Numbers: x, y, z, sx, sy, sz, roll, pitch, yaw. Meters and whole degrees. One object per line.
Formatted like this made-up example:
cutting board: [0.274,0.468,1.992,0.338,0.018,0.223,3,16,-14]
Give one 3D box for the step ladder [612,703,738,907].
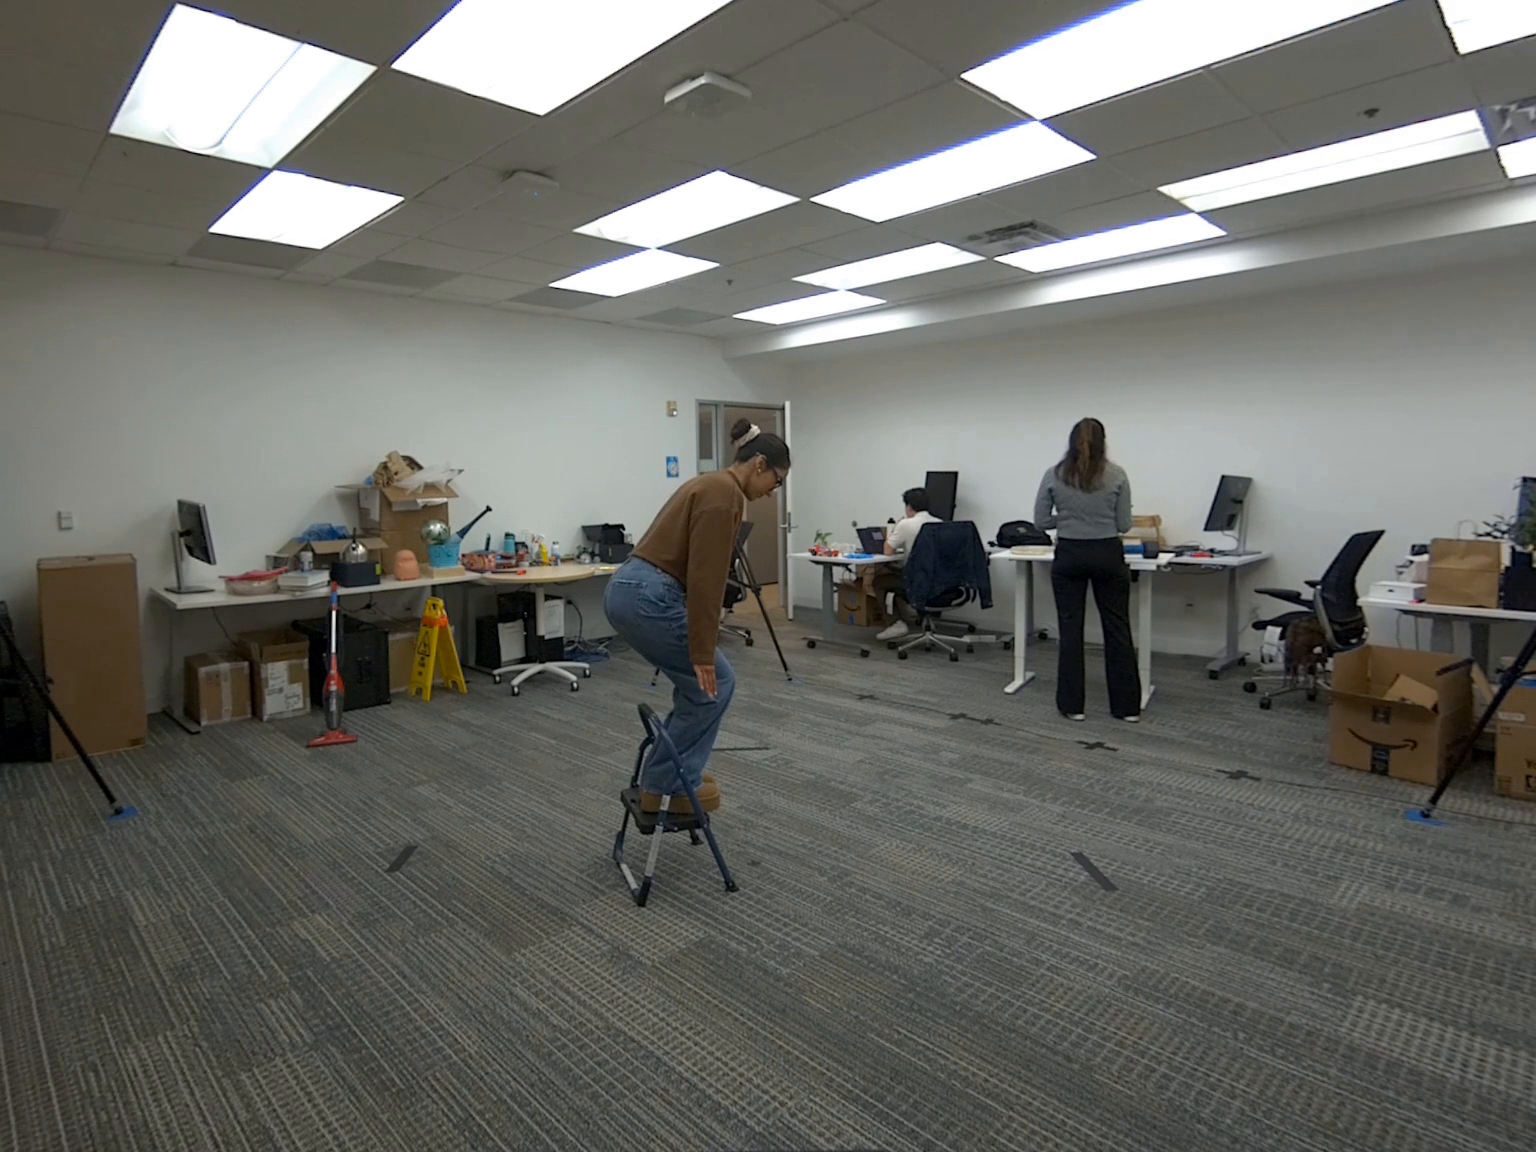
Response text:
step ladder: [-0.345,0.759,3.027,0.343,0.604,0.440,-2,5,-22]
